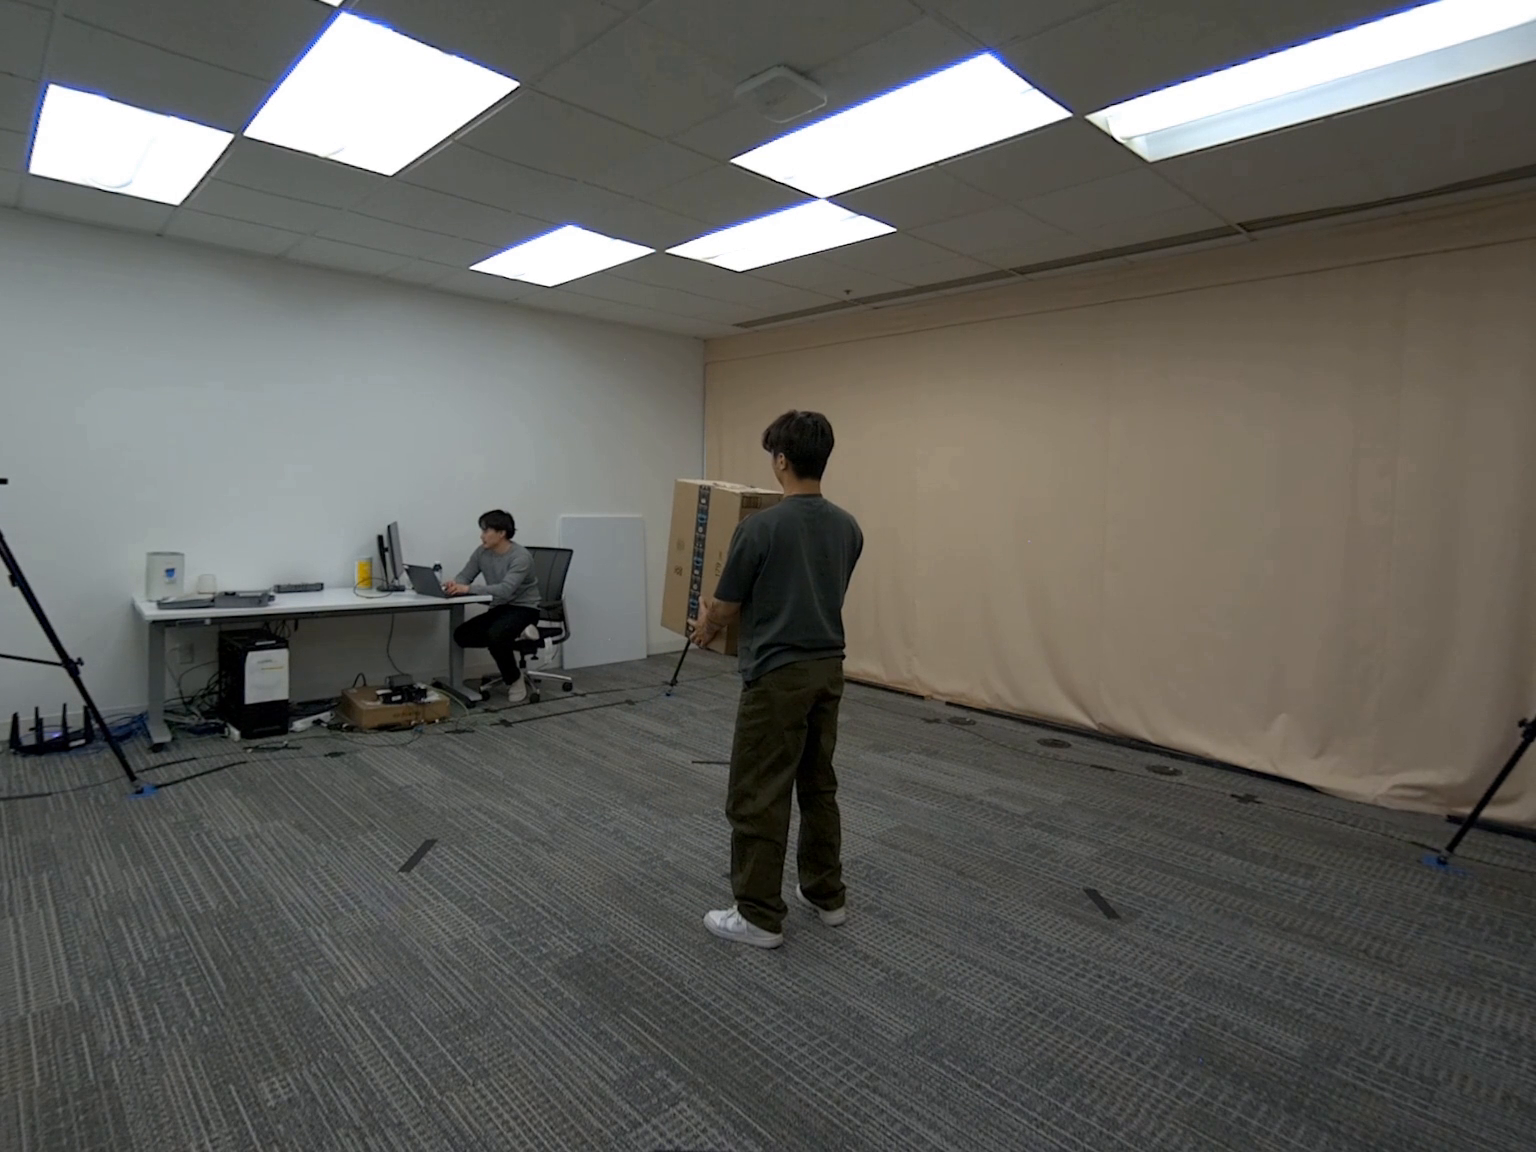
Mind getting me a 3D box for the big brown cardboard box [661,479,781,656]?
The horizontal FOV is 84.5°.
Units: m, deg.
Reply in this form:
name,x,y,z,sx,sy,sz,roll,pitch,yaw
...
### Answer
name,x,y,z,sx,sy,sz,roll,pitch,yaw
big brown cardboard box,-0.172,-0.050,3.073,0.228,0.586,0.429,2,10,-39
